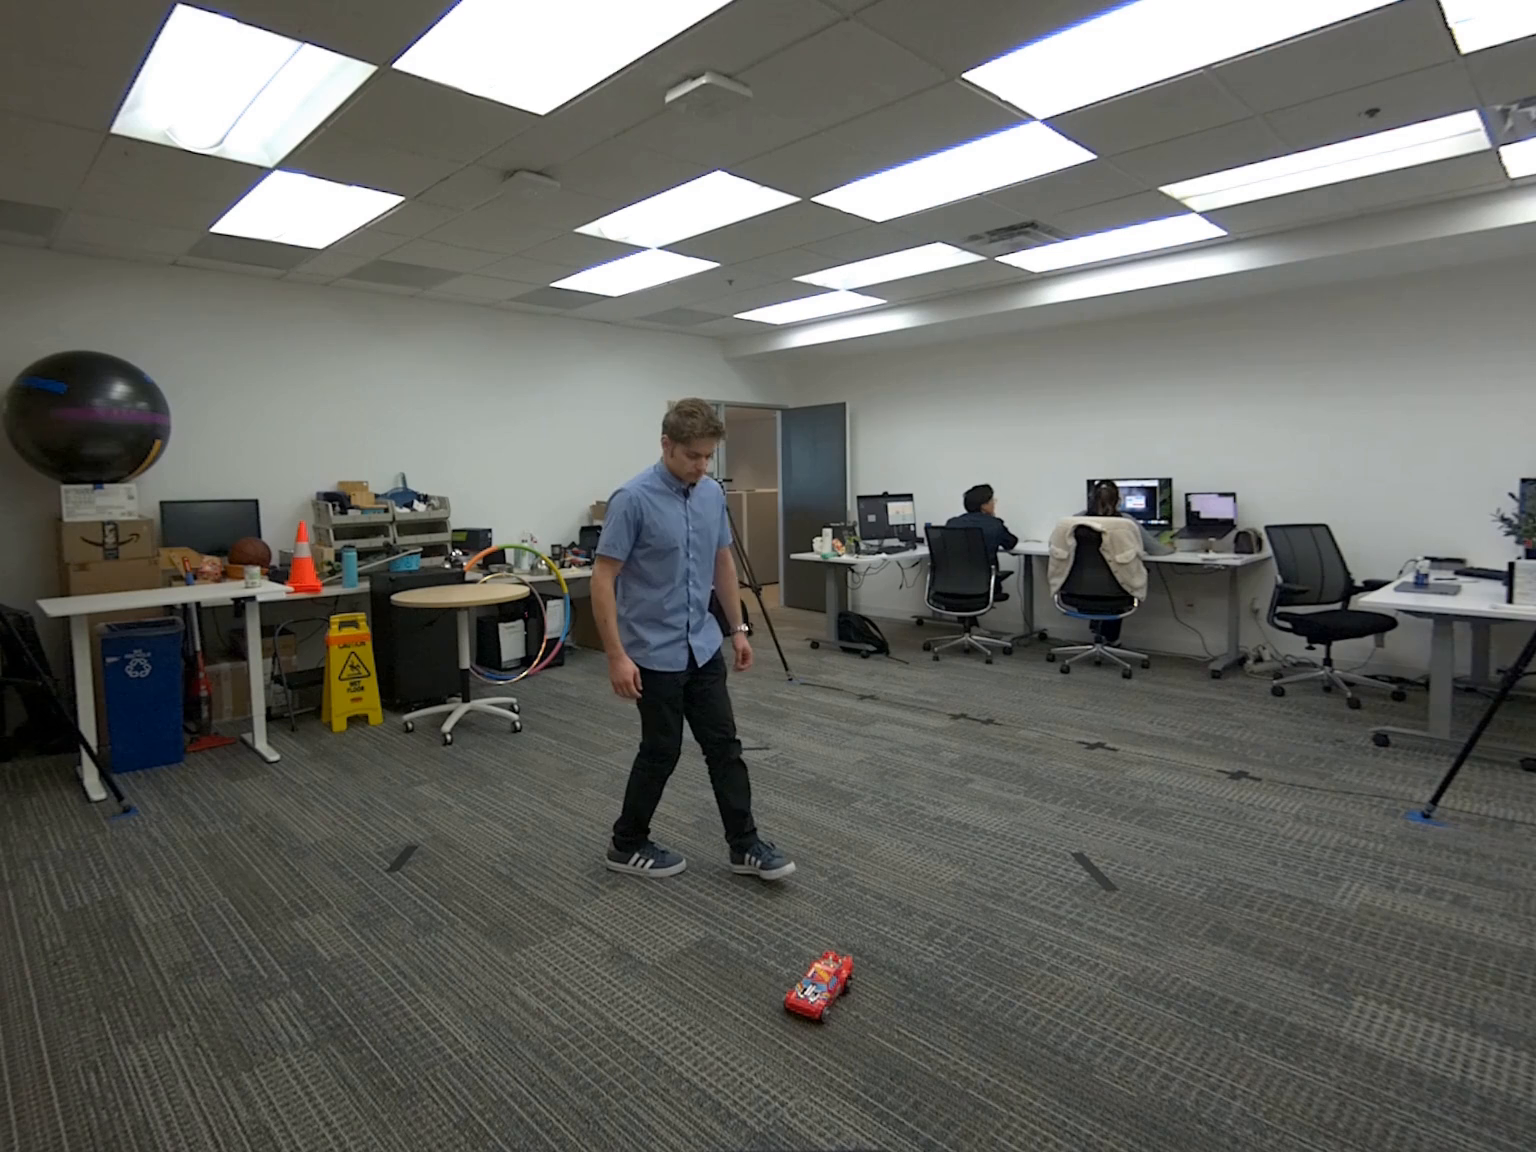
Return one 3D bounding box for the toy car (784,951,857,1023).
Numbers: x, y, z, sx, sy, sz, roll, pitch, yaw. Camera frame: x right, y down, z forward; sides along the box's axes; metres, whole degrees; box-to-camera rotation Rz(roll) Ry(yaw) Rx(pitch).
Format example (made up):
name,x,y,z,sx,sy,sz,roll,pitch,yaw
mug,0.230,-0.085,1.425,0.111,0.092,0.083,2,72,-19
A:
name,x,y,z,sx,sy,sz,roll,pitch,yaw
toy car,0.155,1.104,2.300,0.134,0.082,0.252,3,19,29
